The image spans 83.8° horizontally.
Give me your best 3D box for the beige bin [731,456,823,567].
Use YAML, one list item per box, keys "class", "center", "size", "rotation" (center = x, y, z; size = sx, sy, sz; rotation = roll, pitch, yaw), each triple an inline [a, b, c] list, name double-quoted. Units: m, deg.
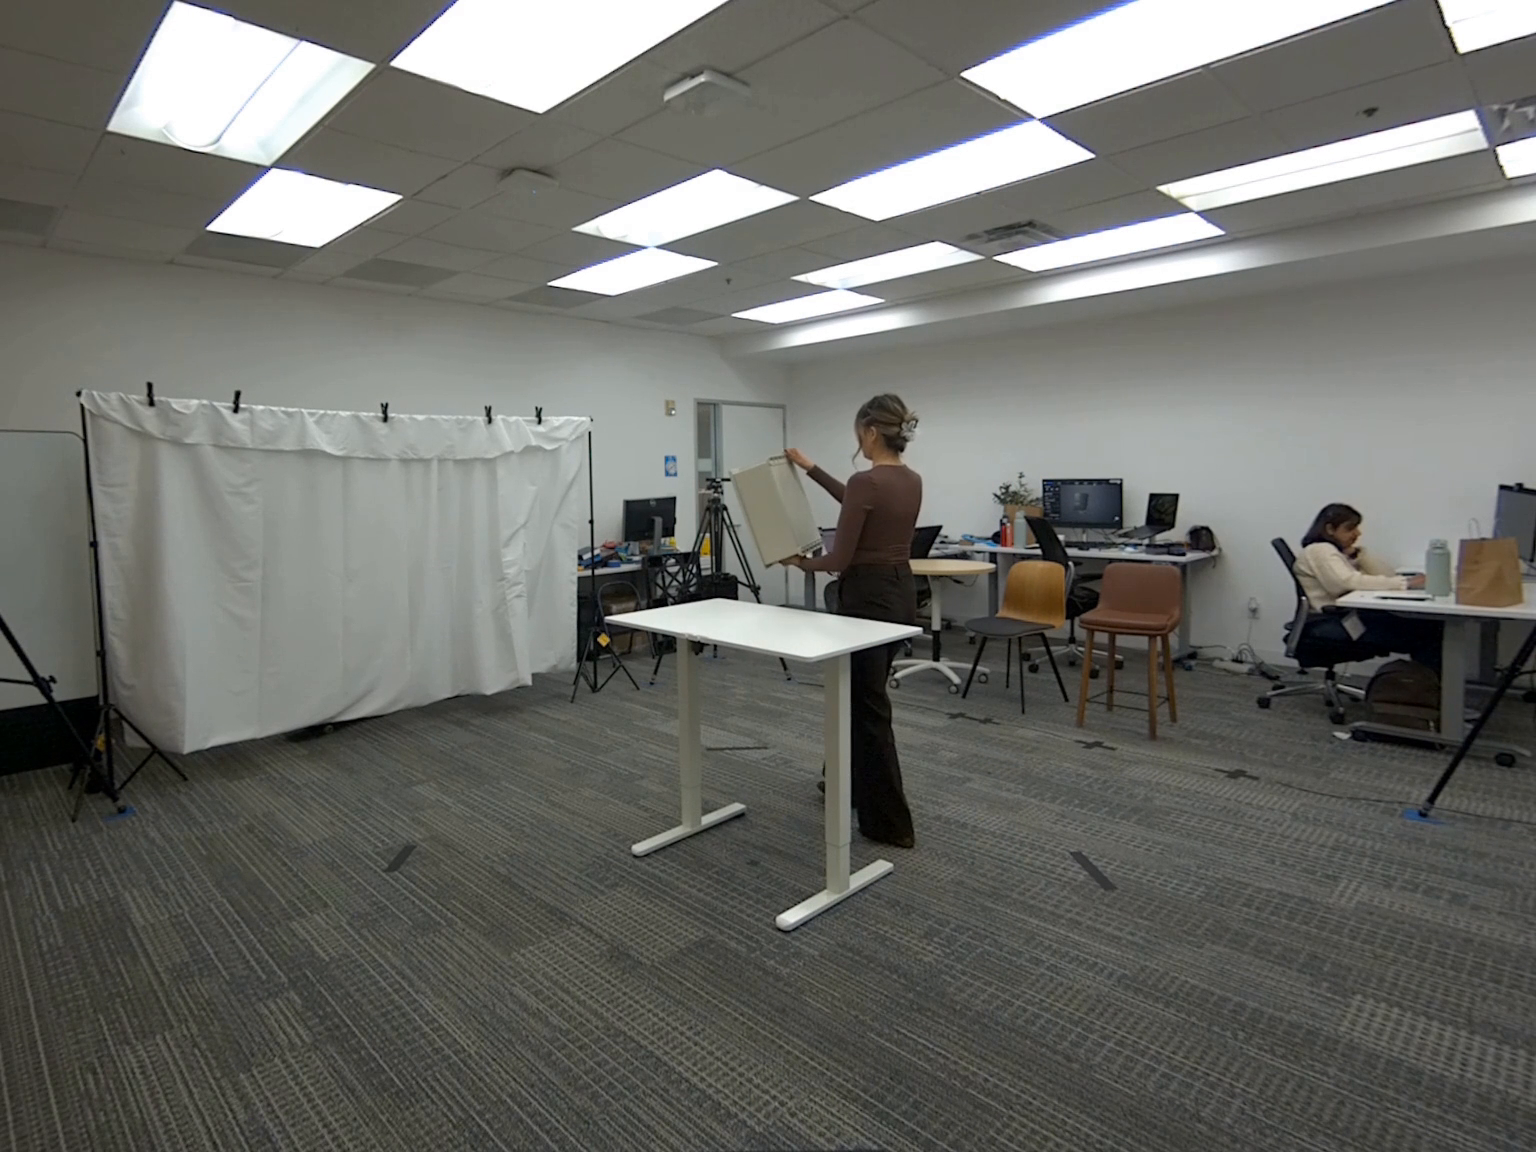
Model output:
- class: "beige bin"
  center: [0.051, -0.280, 3.565]
  size: [0.191, 0.422, 0.373]
  rotation: [-18, 2, 21]
